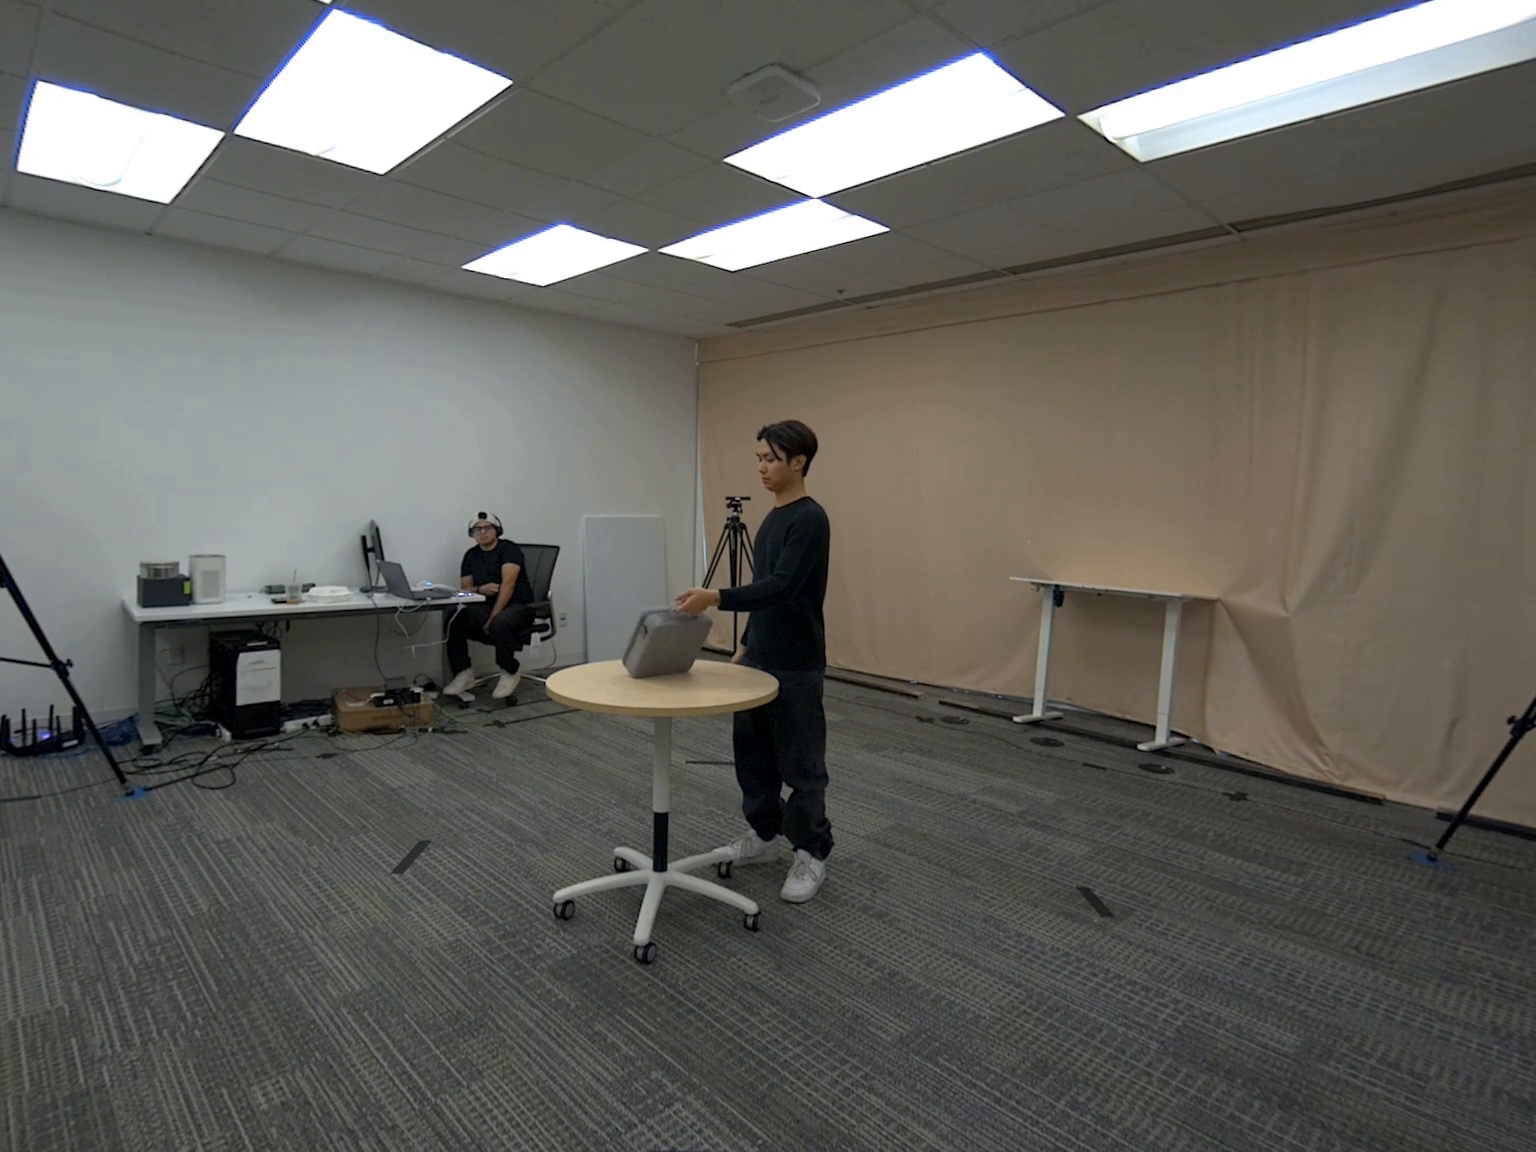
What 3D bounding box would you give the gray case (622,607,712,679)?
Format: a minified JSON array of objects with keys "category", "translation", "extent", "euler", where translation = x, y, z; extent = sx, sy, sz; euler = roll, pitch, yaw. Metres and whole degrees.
[{"category":"gray case","translation":[-0.344,0.218,2.841],"extent":[0.251,0.258,0.107],"euler":[-2,39,-39]}]
